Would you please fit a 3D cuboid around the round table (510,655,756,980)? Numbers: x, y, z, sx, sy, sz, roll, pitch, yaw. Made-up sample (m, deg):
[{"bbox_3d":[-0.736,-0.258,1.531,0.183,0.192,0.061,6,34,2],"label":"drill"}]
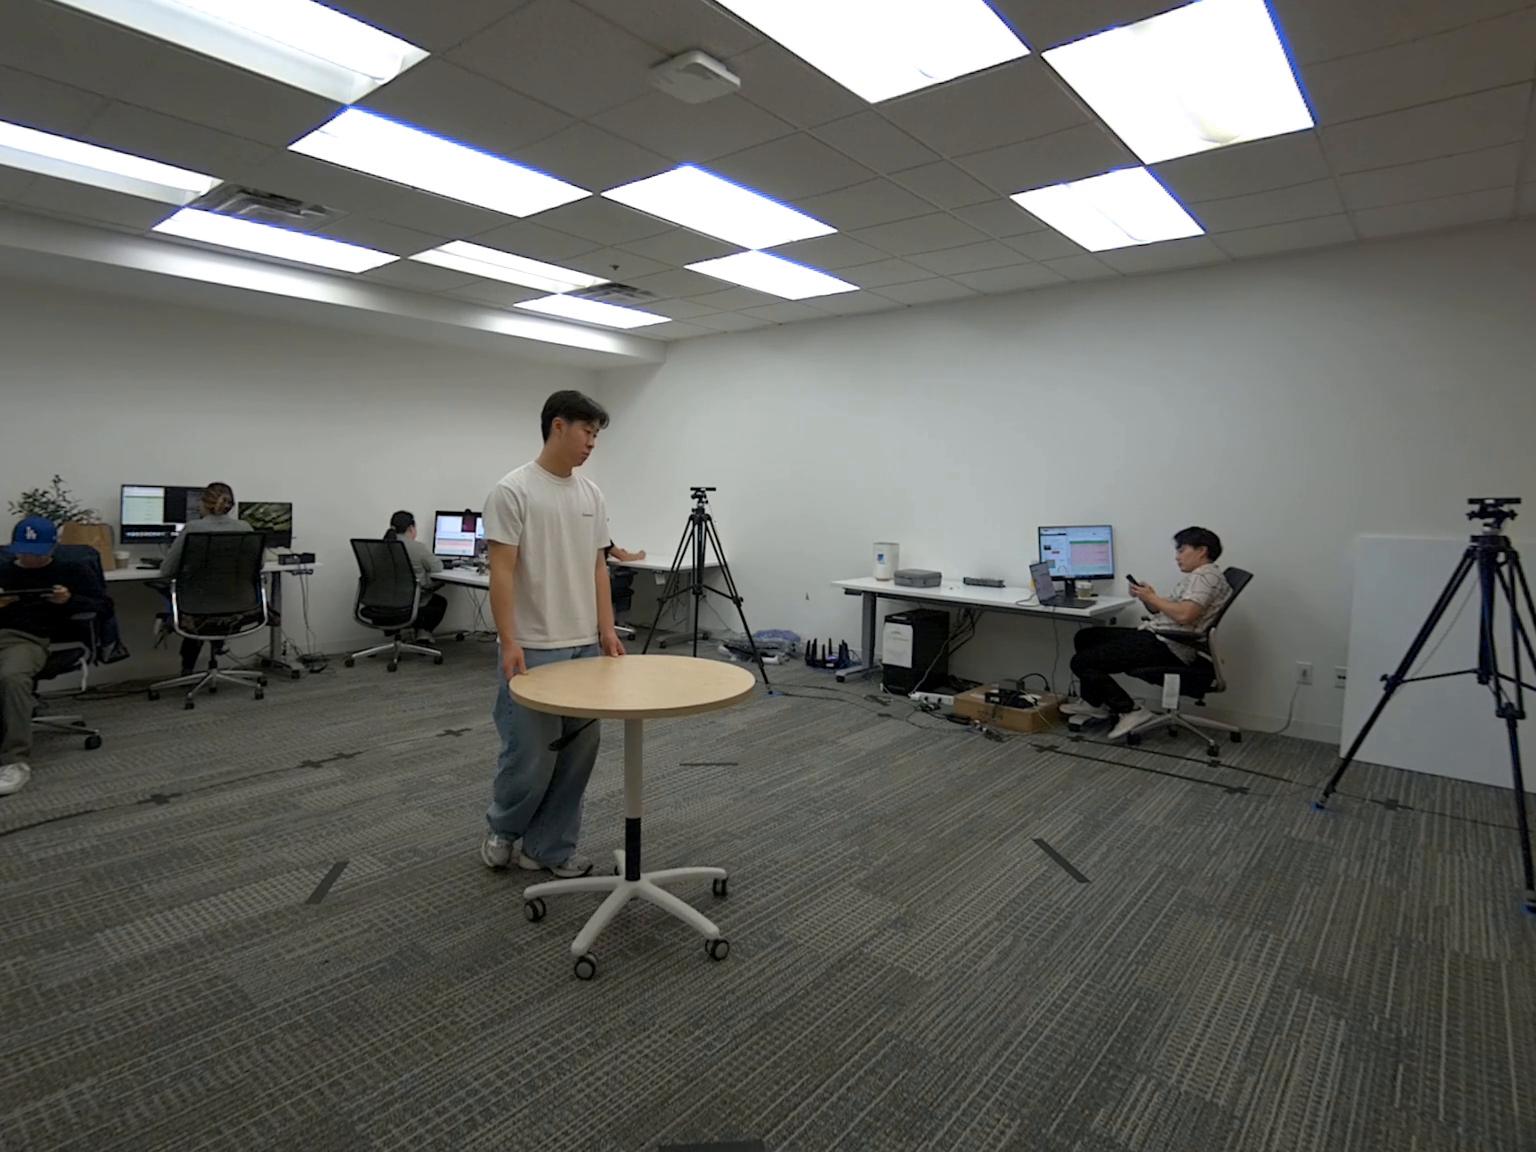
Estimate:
[{"bbox_3d":[-0.433,0.712,2.702,0.763,0.791,0.768,1,4,-2],"label":"round table"}]
